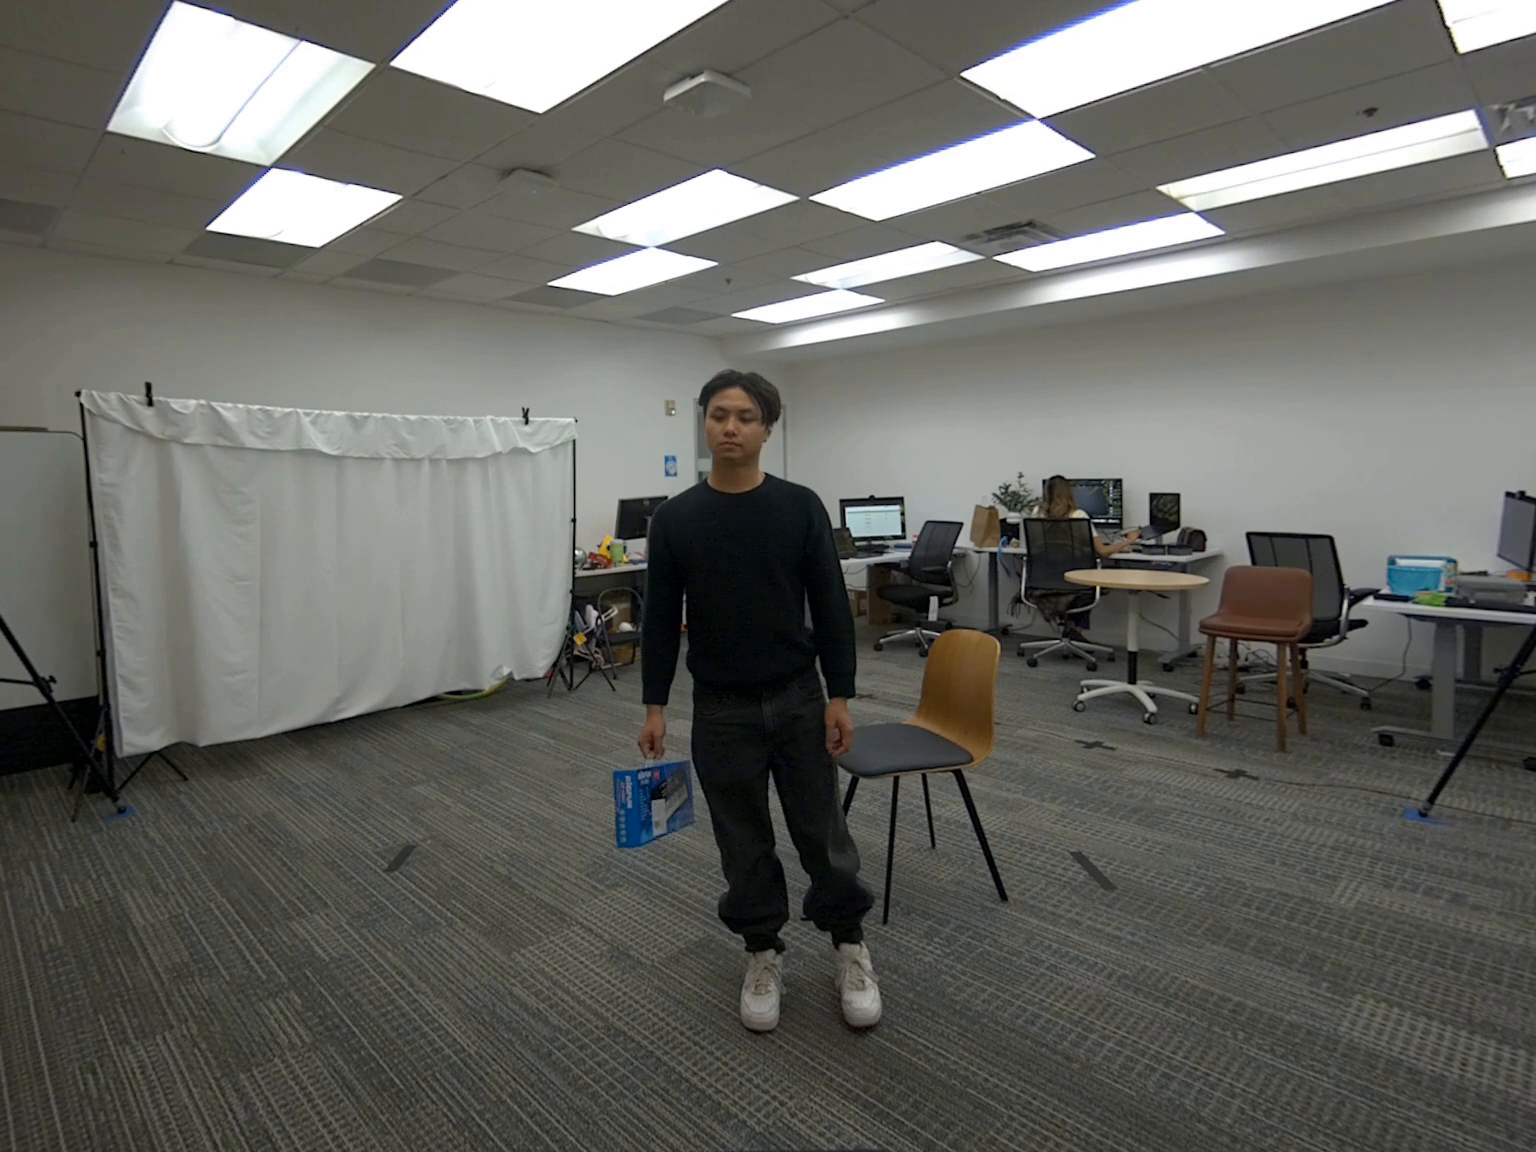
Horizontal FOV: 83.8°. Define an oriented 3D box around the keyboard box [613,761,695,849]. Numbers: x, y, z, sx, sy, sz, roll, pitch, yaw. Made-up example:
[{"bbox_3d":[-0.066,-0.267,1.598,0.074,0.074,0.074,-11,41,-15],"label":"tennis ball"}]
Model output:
[{"bbox_3d":[-0.278,0.580,2.178,0.060,0.178,0.428,-6,-9,11],"label":"keyboard box"}]
